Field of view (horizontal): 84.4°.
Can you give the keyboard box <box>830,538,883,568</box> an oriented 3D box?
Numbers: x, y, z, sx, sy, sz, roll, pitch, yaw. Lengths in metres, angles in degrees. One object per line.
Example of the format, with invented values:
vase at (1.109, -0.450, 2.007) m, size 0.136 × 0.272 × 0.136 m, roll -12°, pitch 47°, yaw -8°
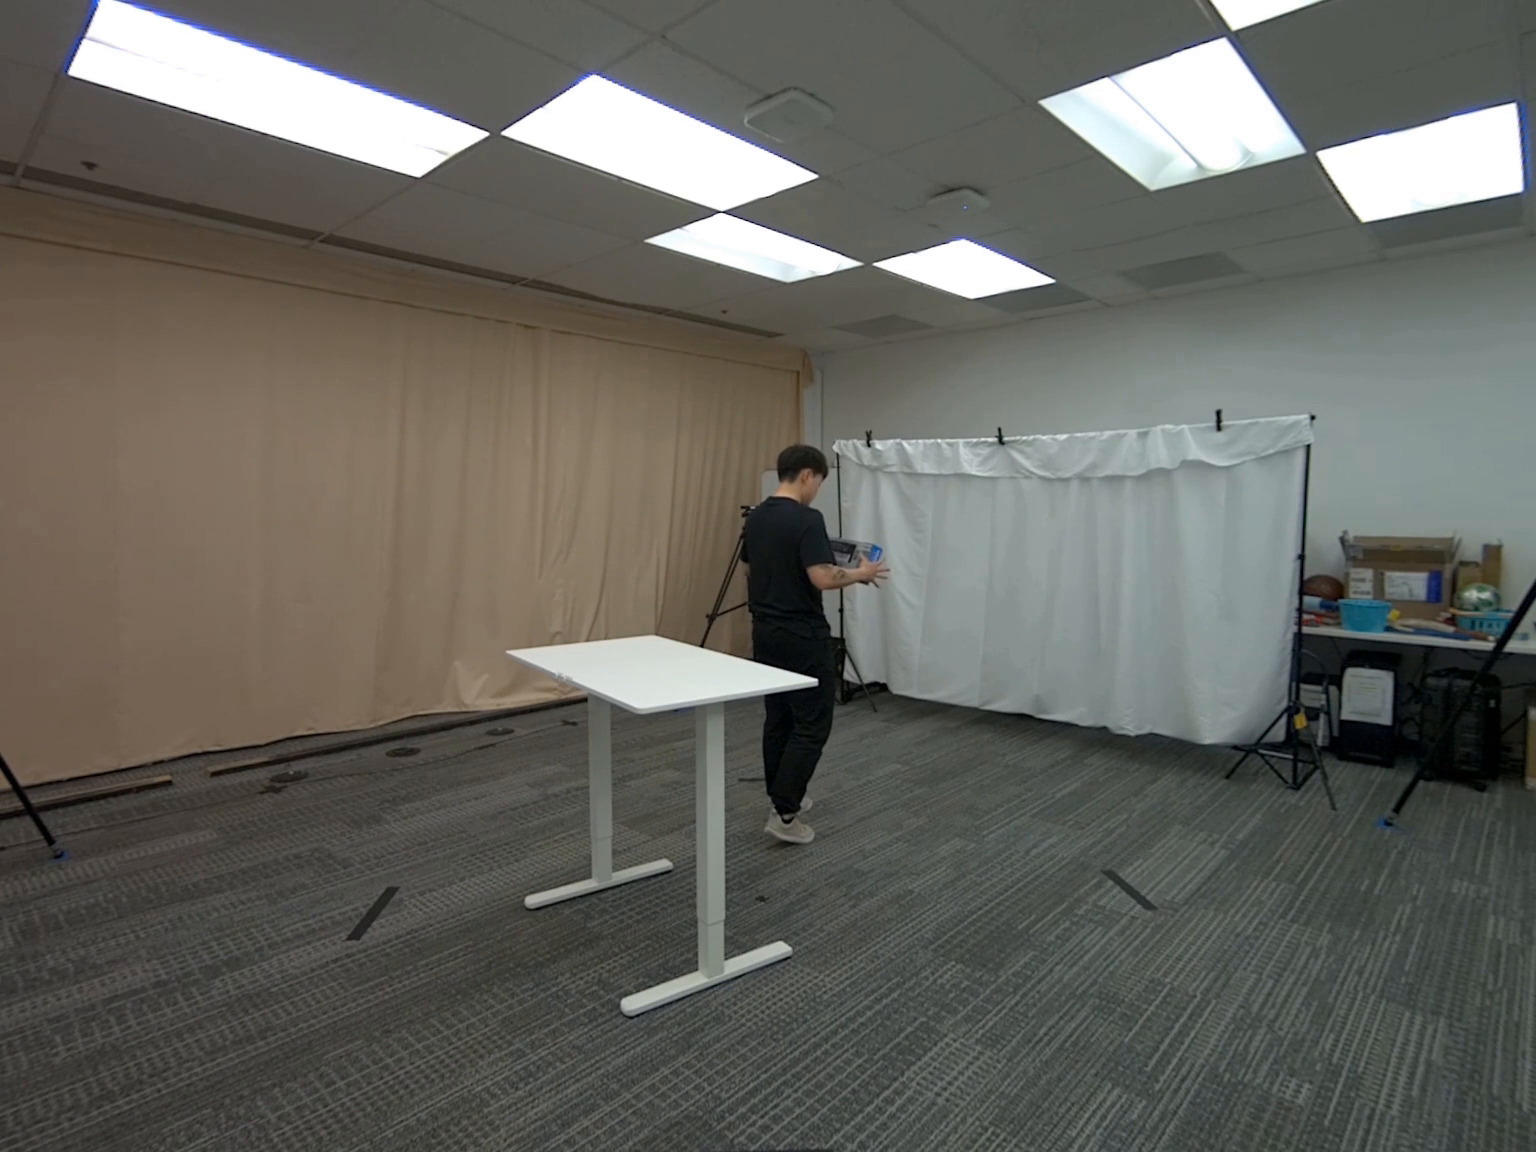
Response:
keyboard box at (0.326, -0.078, 3.788) m, size 0.057 × 0.176 × 0.451 m, roll 26°, pitch -7°, yaw -35°
